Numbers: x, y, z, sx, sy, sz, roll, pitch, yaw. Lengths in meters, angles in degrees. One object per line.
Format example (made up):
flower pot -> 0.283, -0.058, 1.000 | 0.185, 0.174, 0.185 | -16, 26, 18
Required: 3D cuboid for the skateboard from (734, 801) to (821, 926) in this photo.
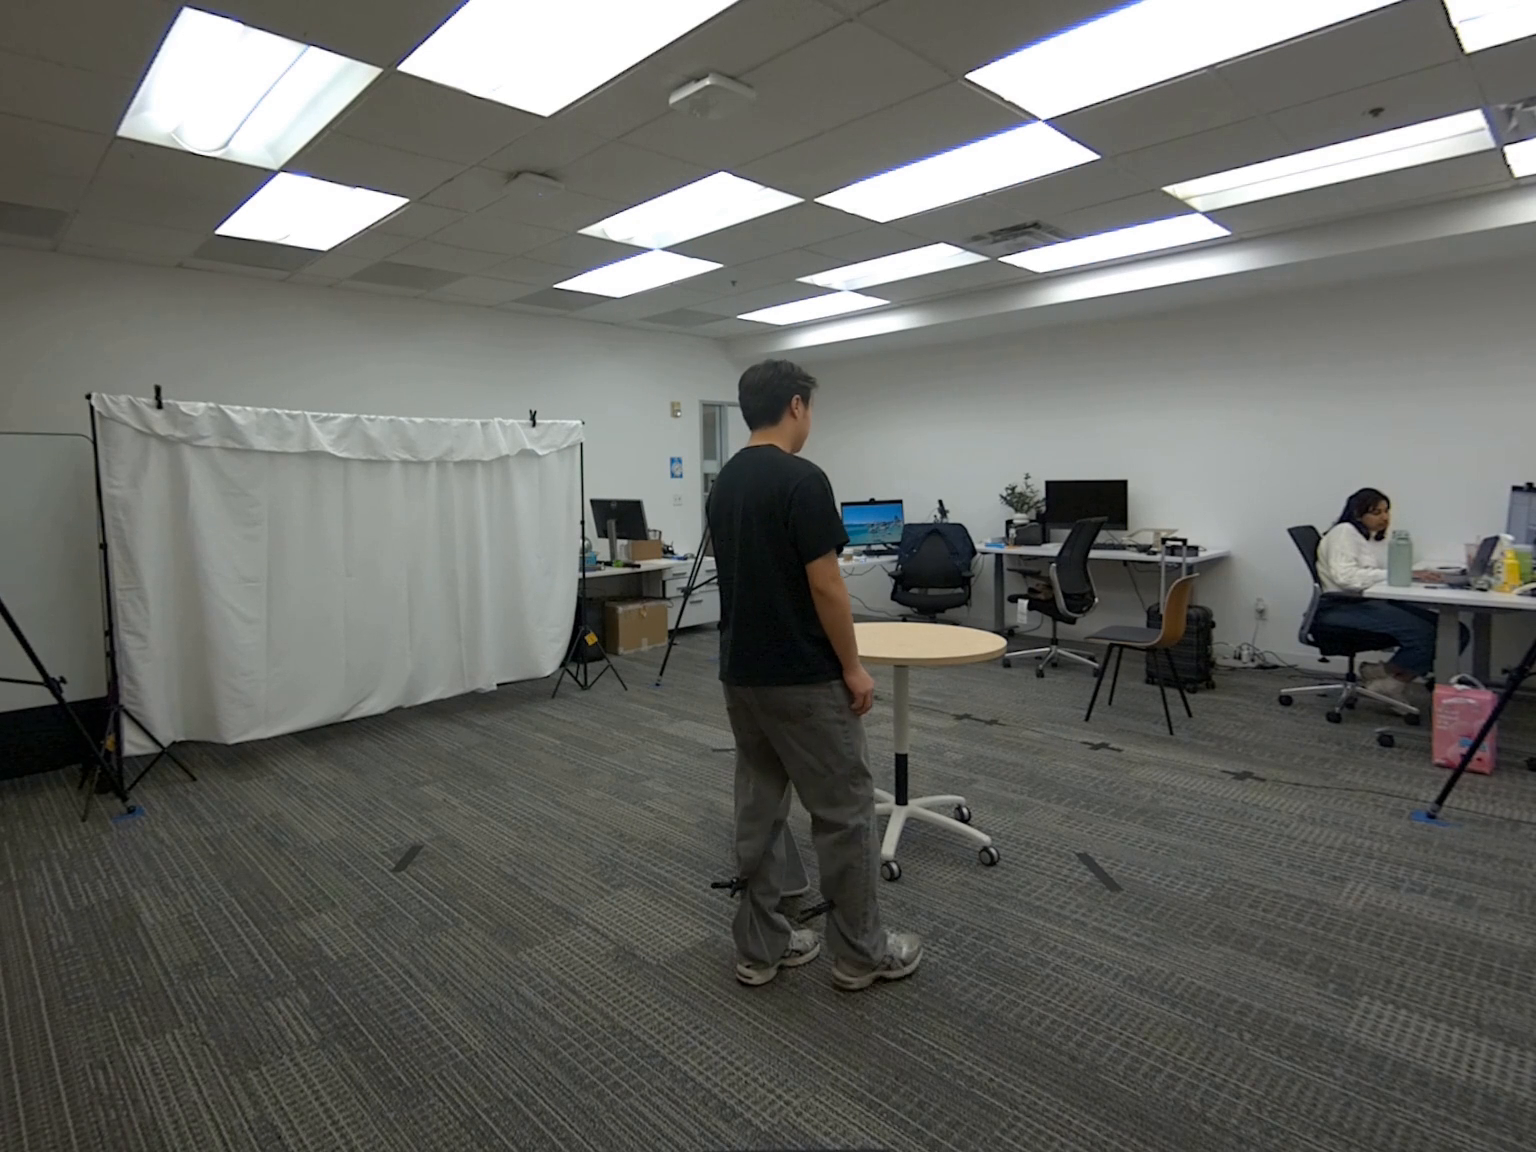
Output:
skateboard -> 0.014, 0.996, 3.058 | 0.192, 0.110, 0.793 | -1, 5, -7
